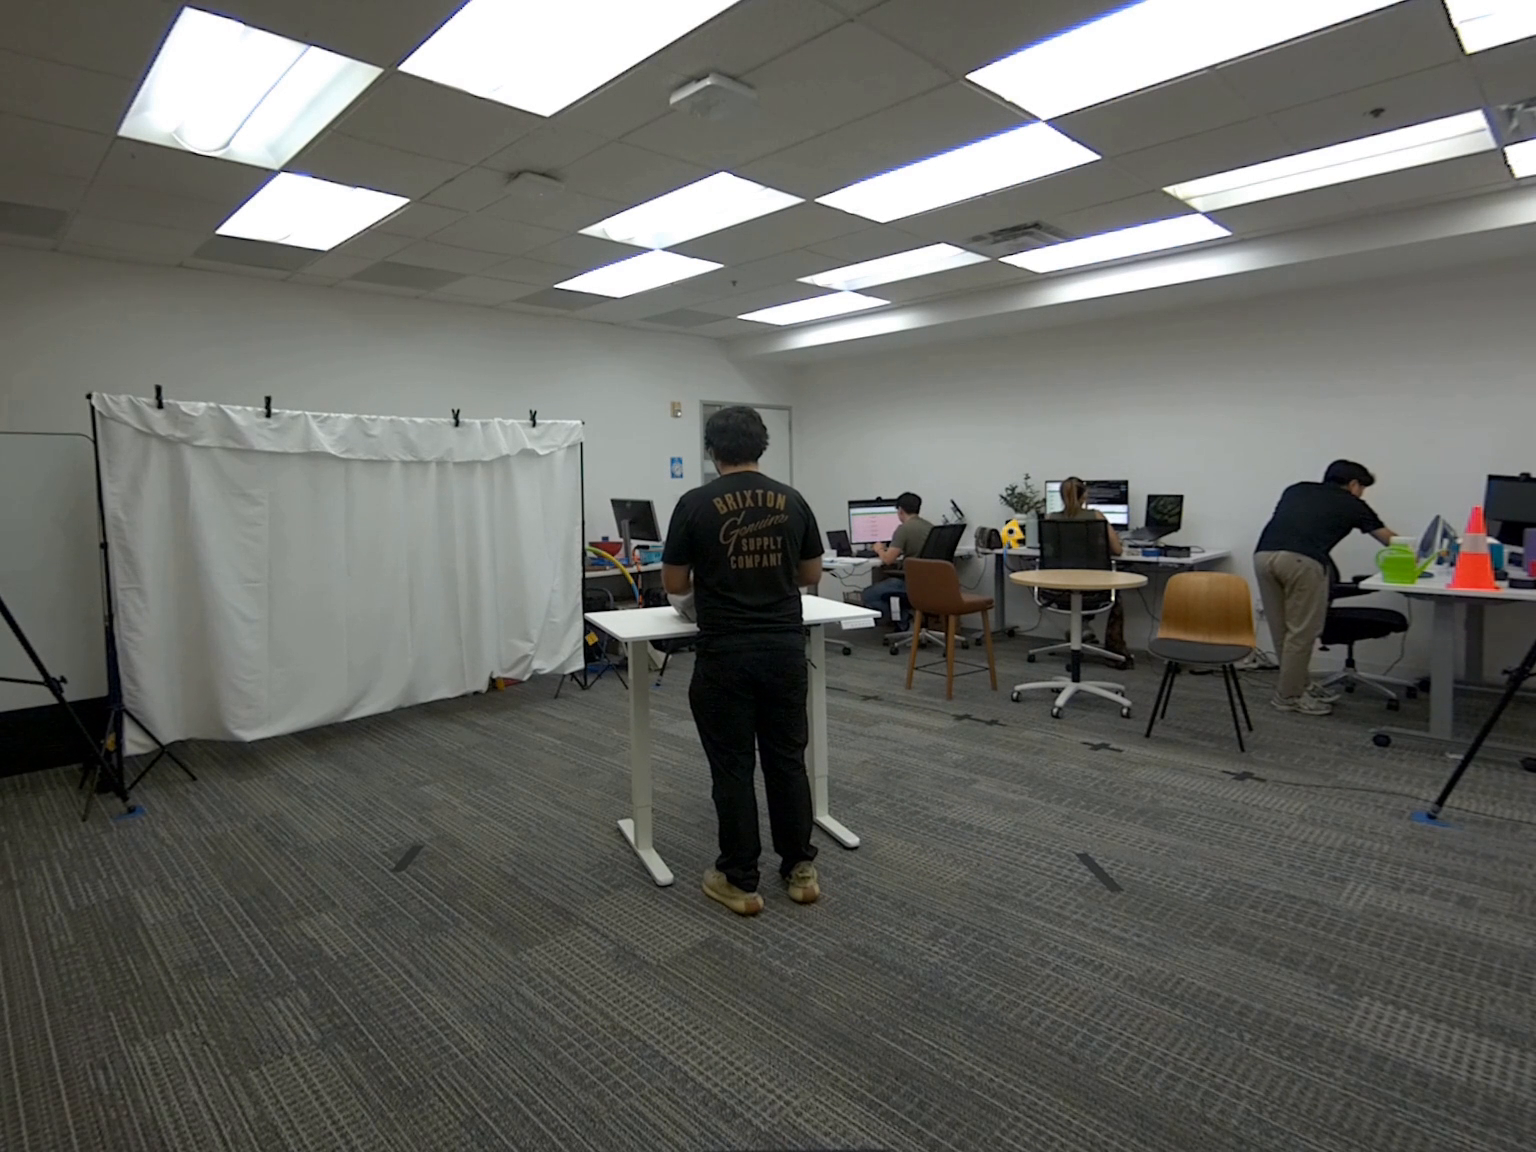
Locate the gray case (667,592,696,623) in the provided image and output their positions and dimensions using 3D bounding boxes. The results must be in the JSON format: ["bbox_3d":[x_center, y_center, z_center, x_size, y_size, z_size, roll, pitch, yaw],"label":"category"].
[{"bbox_3d":[-0.245,0.059,3.209,0.260,0.102,0.262,-37,16,-11],"label":"gray case"}]
